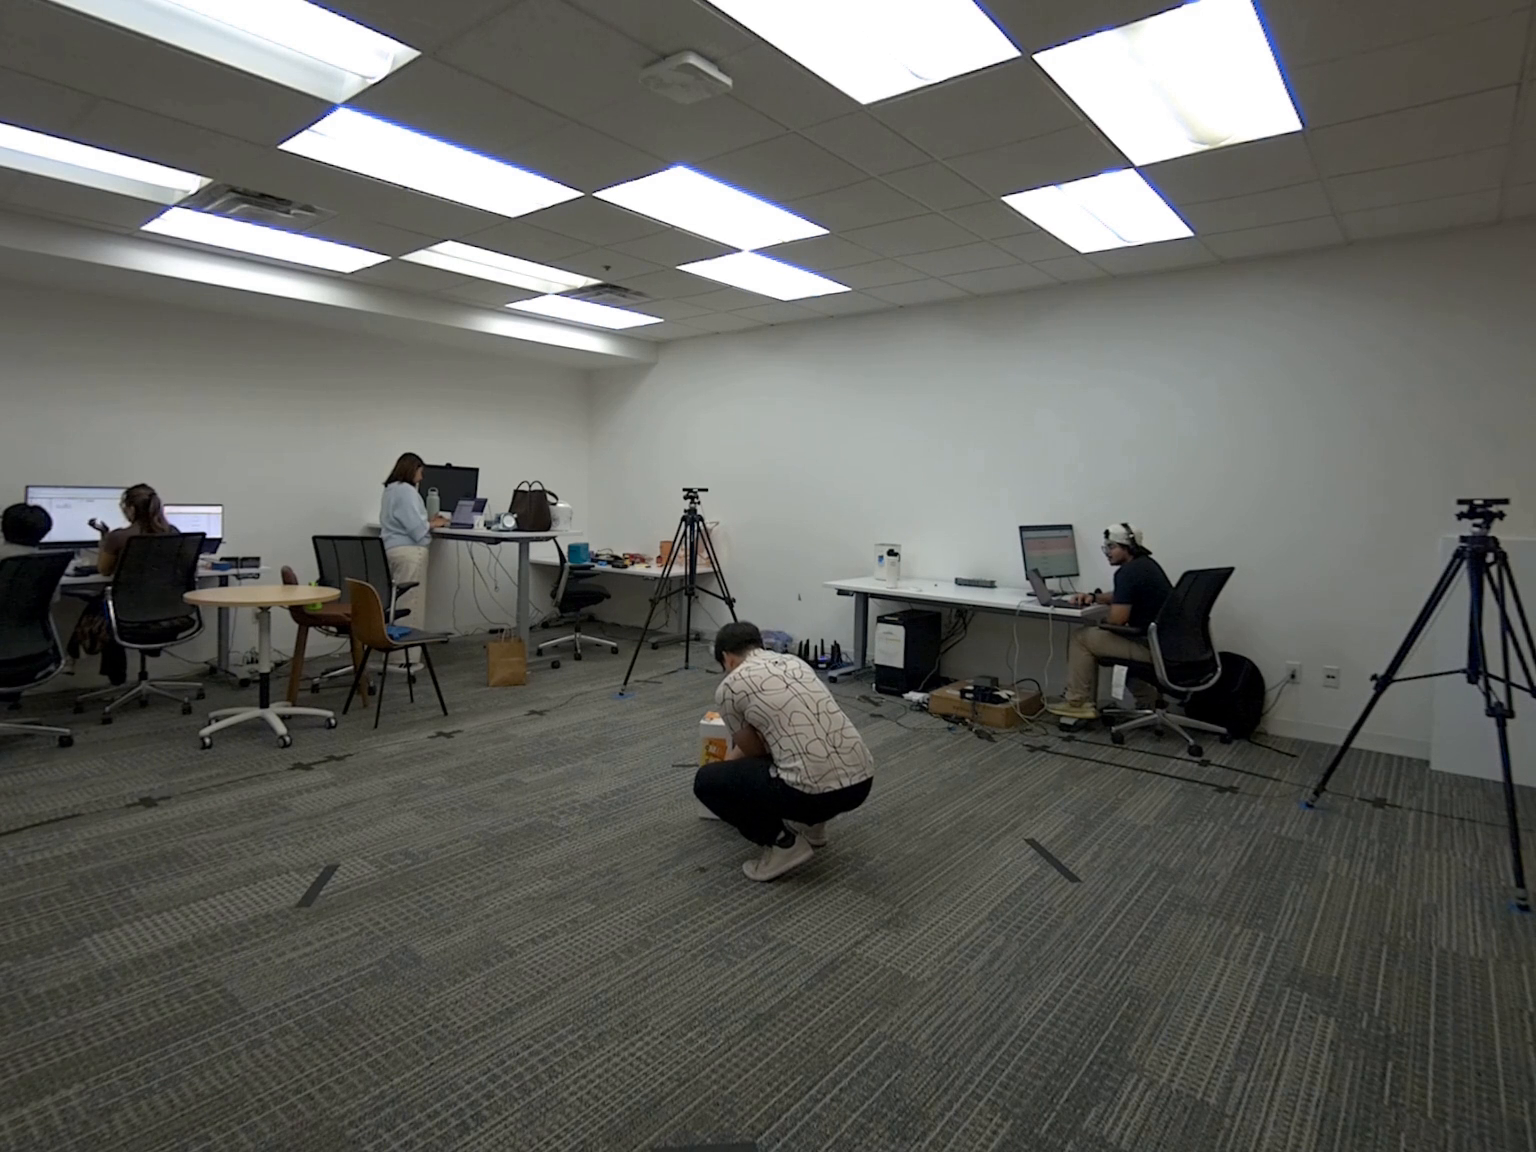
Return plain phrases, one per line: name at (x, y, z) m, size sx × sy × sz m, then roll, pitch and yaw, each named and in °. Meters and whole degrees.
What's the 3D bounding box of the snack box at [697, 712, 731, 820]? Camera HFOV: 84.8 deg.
snack box at (-0.118, 0.809, 3.648) m, size 0.344 × 0.405 × 0.204 m, roll 1°, pitch 2°, yaw 10°
